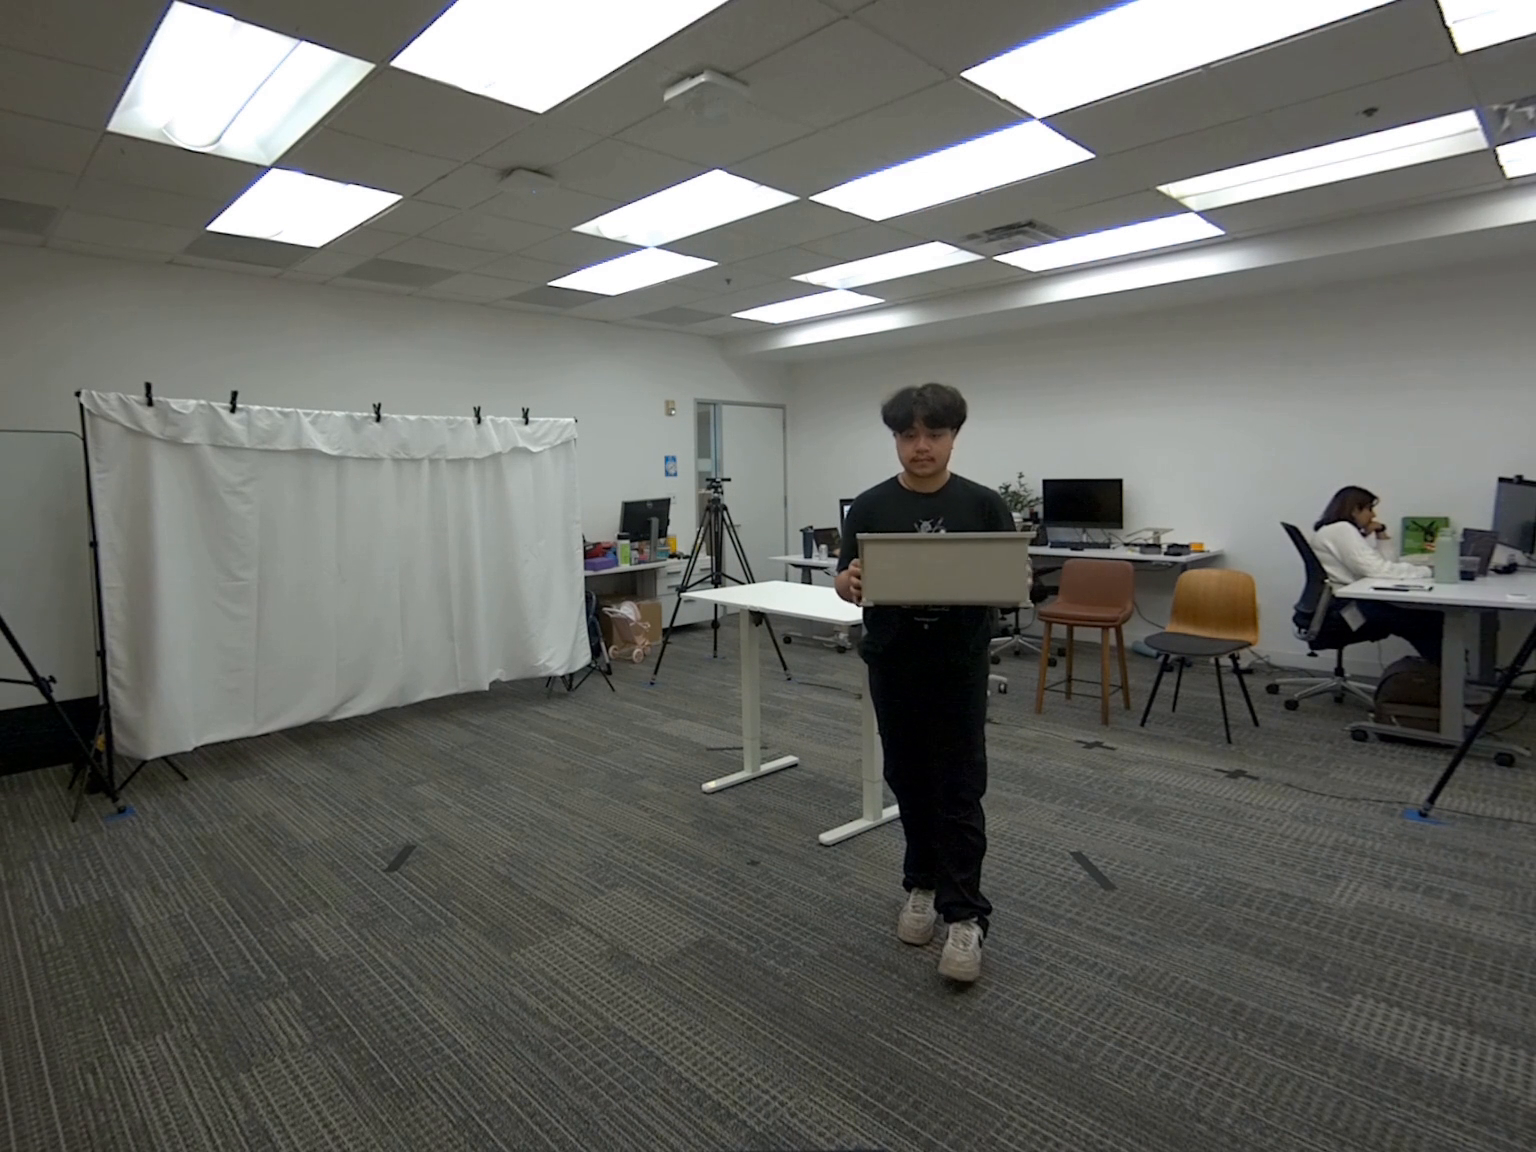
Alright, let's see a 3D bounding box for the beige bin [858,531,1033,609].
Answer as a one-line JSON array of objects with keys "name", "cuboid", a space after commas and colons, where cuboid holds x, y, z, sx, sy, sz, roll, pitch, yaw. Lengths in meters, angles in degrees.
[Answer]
[{"name": "beige bin", "cuboid": [0.452, -0.024, 2.250, 0.426, 0.188, 0.375, 0, 5, 8]}]
